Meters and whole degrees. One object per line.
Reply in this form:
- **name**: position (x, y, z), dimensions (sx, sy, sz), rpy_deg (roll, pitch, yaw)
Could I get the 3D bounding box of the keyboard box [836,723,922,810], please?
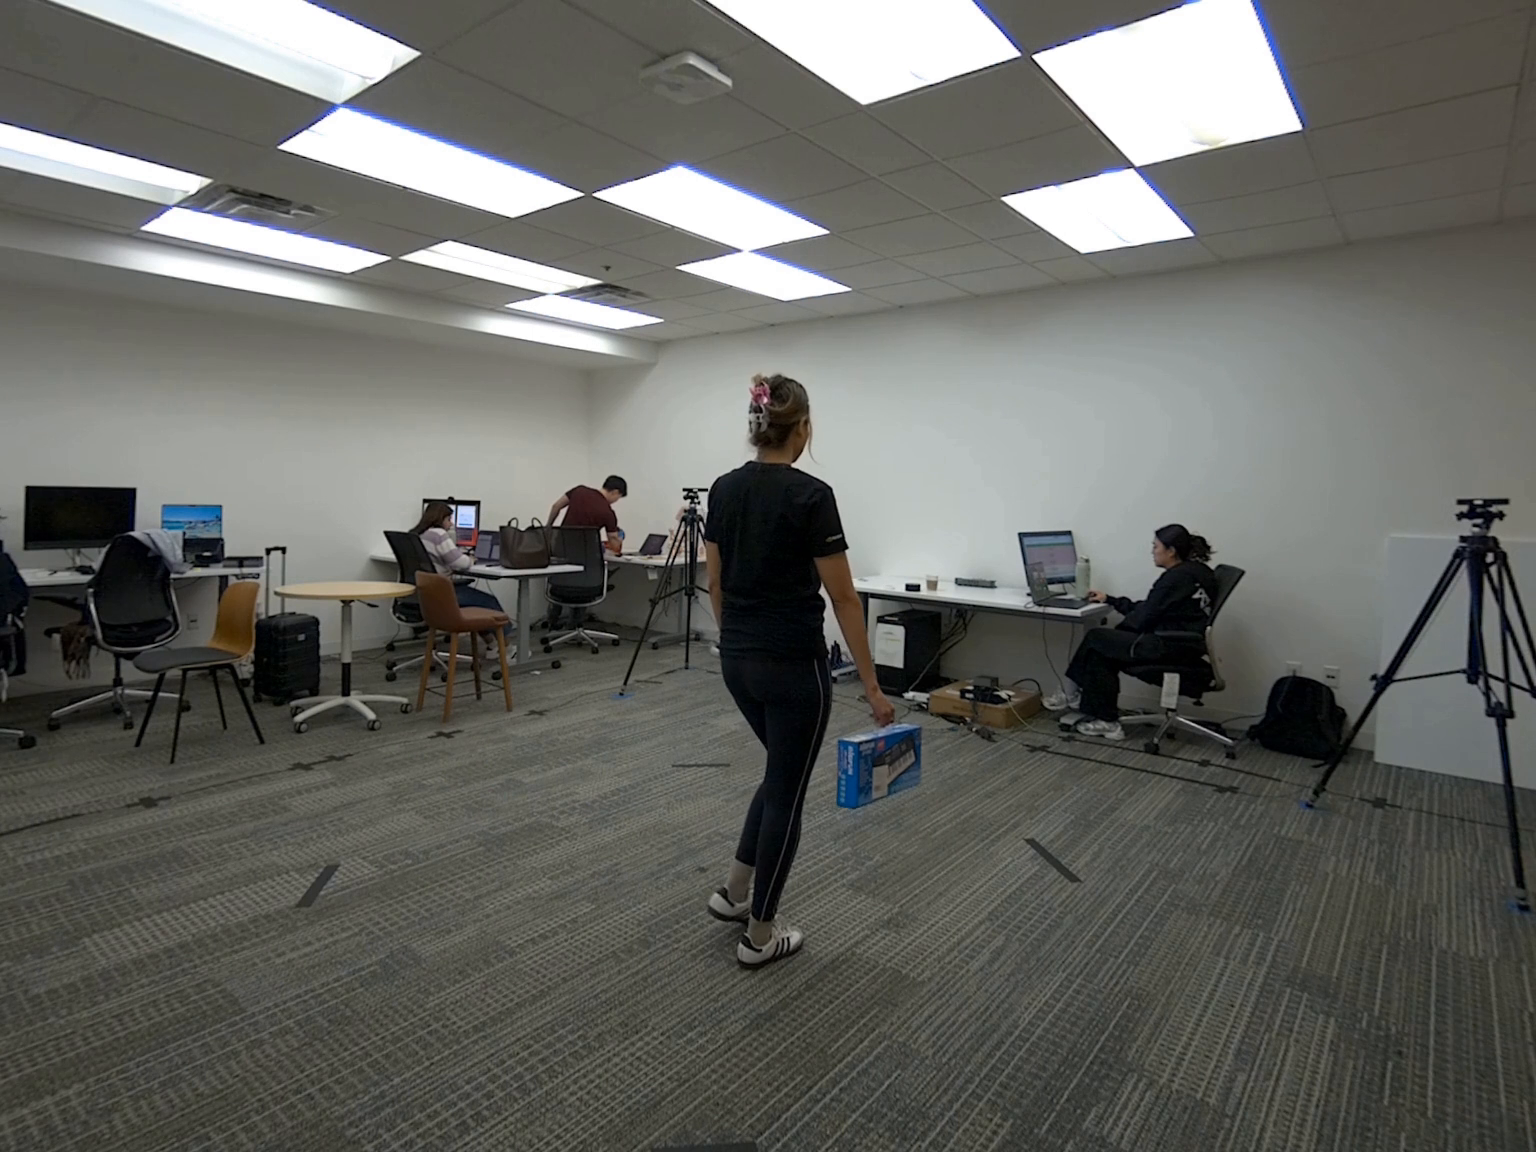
- **keyboard box**: position (0.312, 0.528, 2.389), dimensions (0.061, 0.177, 0.423), rpy_deg (-2, -4, 33)
